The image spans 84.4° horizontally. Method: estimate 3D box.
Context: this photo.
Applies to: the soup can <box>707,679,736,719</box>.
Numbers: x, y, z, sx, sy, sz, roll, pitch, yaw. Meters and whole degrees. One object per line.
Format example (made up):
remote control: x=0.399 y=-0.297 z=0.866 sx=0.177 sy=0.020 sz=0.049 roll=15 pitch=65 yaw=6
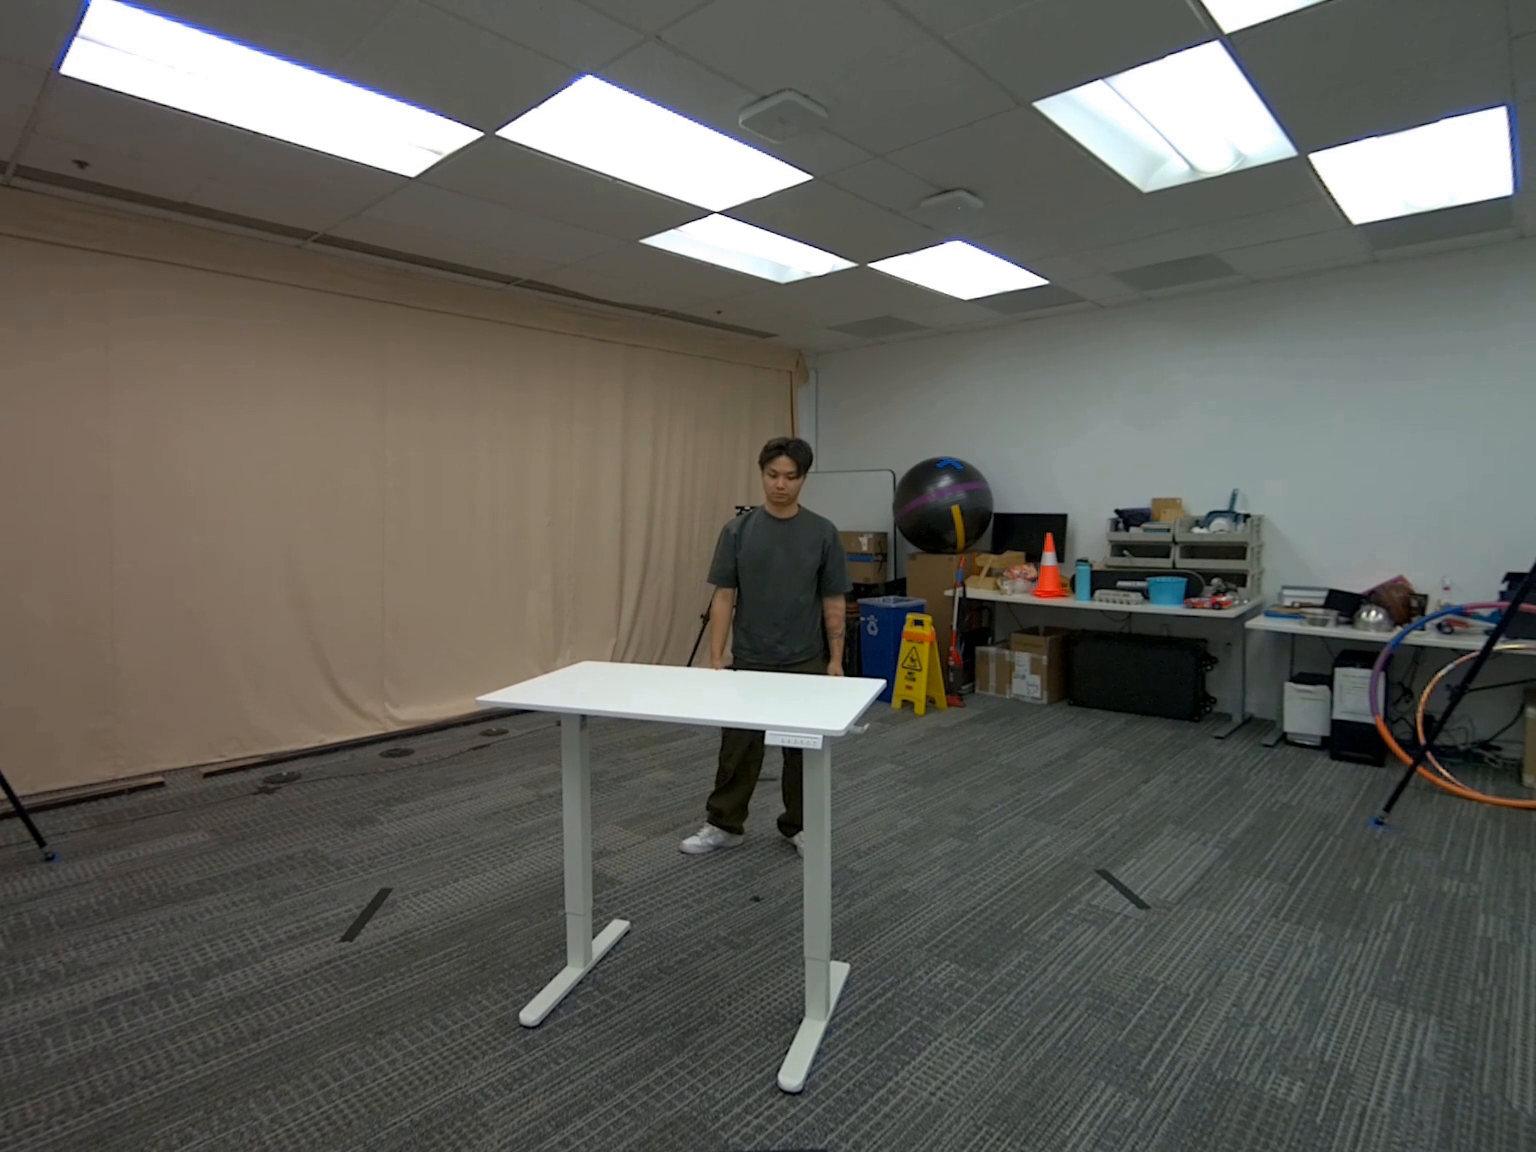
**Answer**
soup can: x=-0.182 y=0.472 z=3.273 sx=0.067 sy=0.122 sz=0.067 roll=-22 pitch=-1 yaw=-2
